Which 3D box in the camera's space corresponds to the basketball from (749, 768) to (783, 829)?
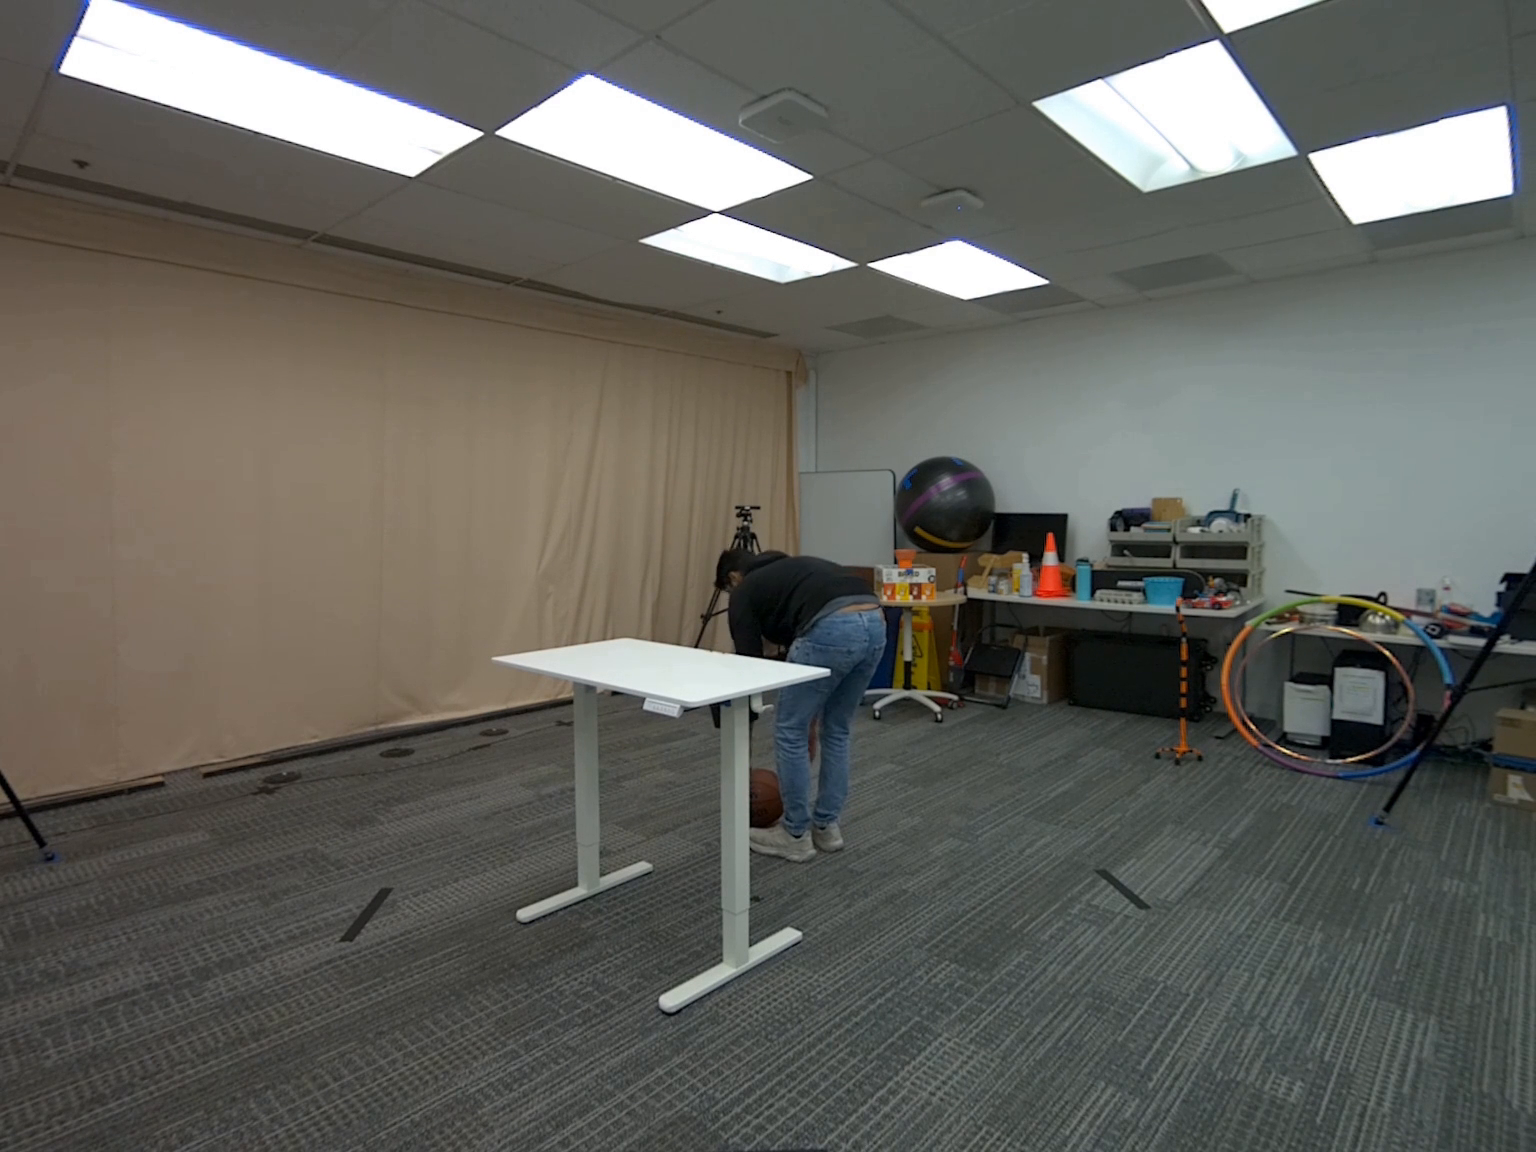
[{"bbox_3d":[-0.034,0.963,3.687,0.236,0.235,0.237,0,4,-2],"label":"basketball"}]
